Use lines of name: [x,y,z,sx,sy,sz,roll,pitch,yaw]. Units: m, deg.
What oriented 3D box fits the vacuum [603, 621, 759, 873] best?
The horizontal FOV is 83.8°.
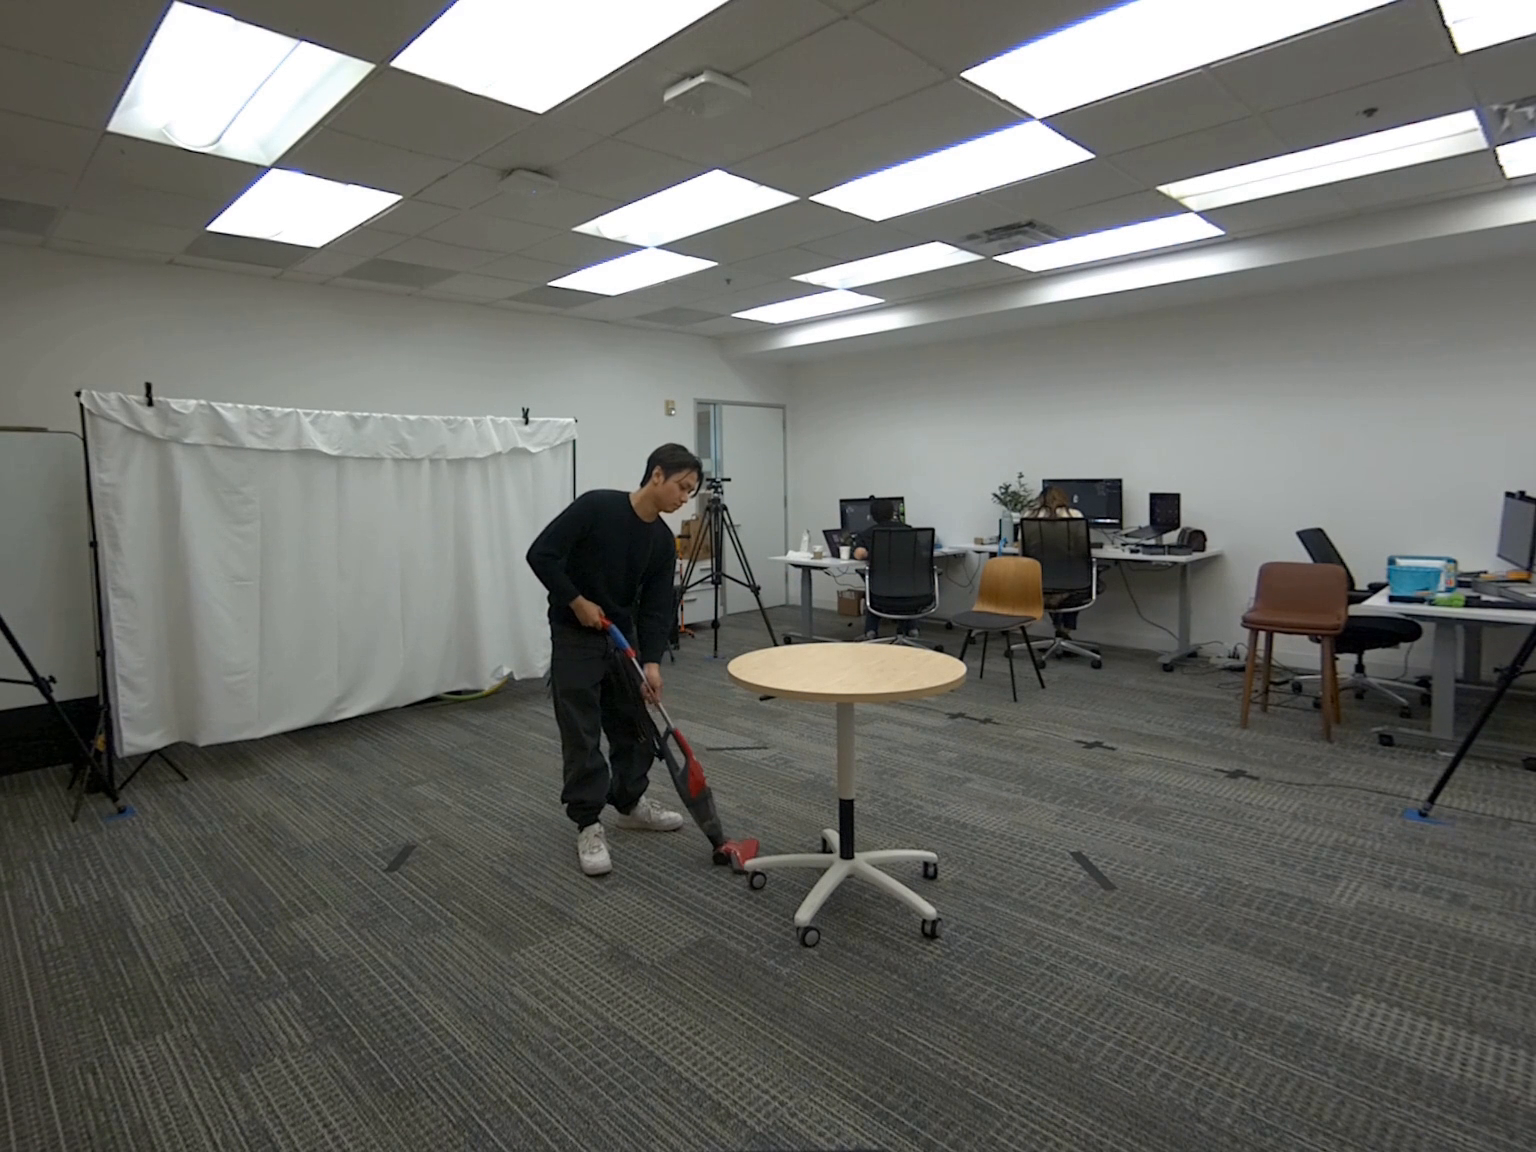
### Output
vacuum: [-0.375,0.571,3.154,0.144,1.051,0.251,-30,-1,6]
